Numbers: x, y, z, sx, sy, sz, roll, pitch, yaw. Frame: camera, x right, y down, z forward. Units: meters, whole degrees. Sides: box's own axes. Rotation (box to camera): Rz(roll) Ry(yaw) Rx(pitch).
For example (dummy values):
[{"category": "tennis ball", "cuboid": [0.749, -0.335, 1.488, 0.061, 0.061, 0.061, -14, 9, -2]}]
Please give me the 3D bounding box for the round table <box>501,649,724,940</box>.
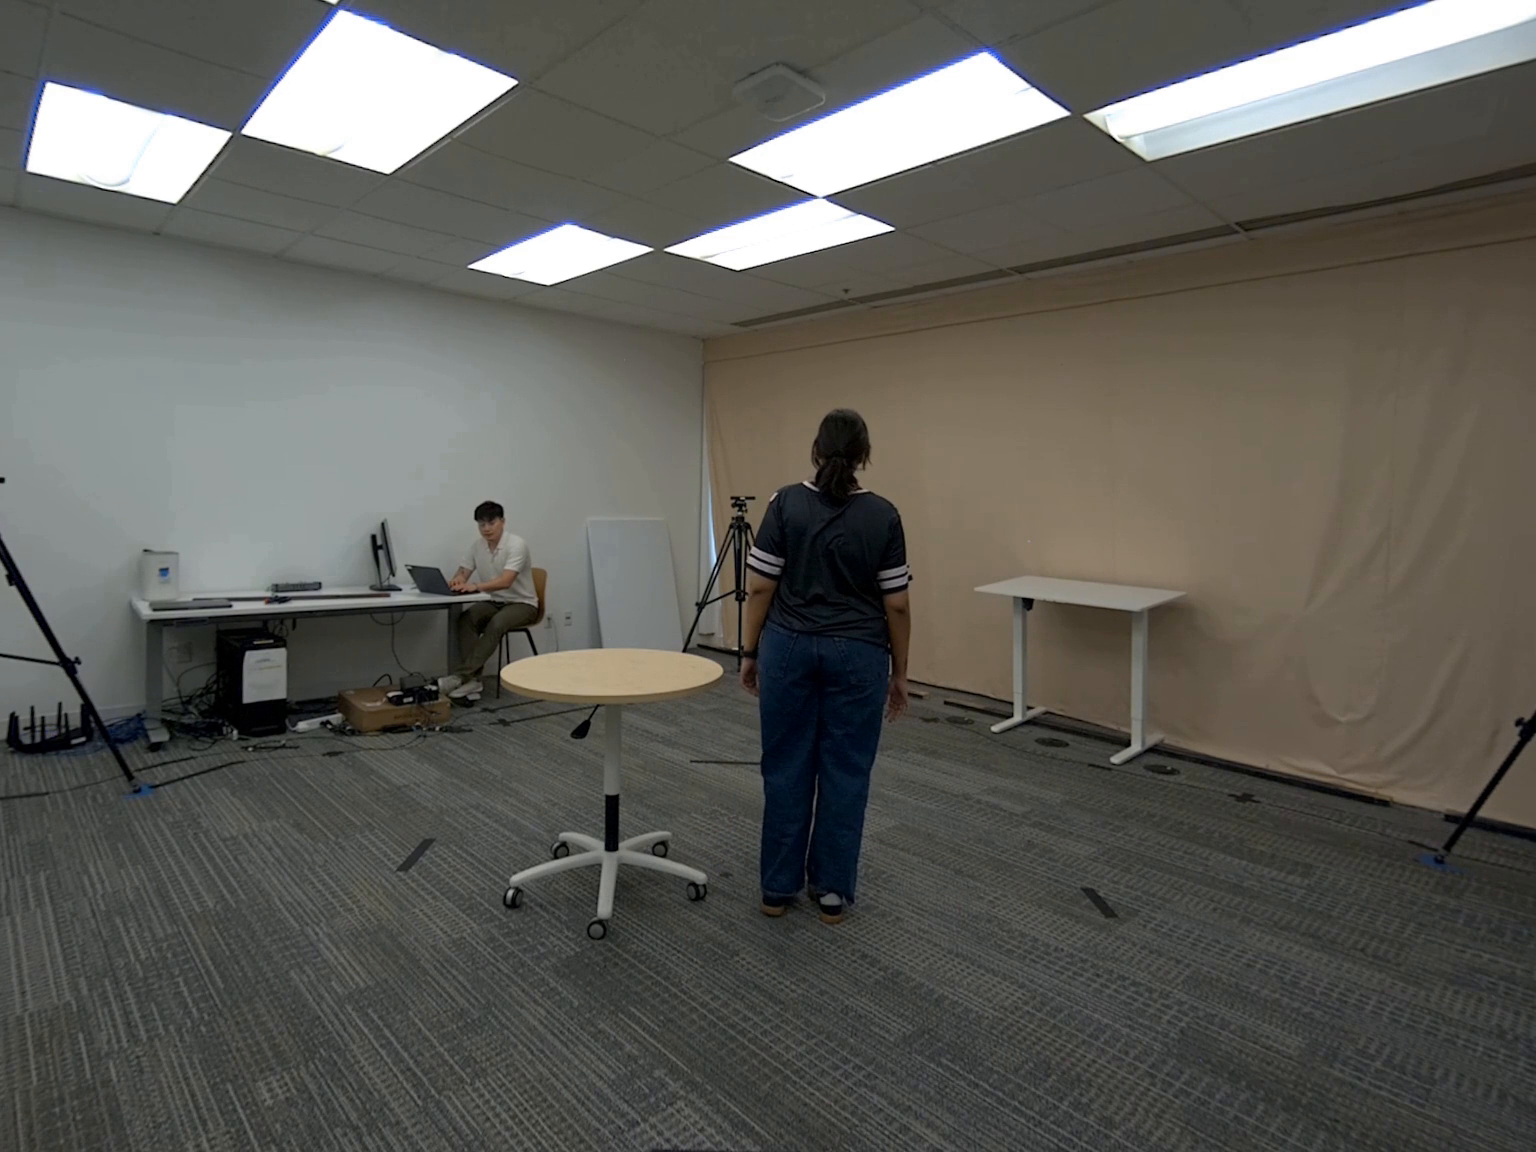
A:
[{"category": "round table", "cuboid": [-0.553, 0.714, 2.943, 0.784, 0.784, 0.788, 1, 4, -1]}]
